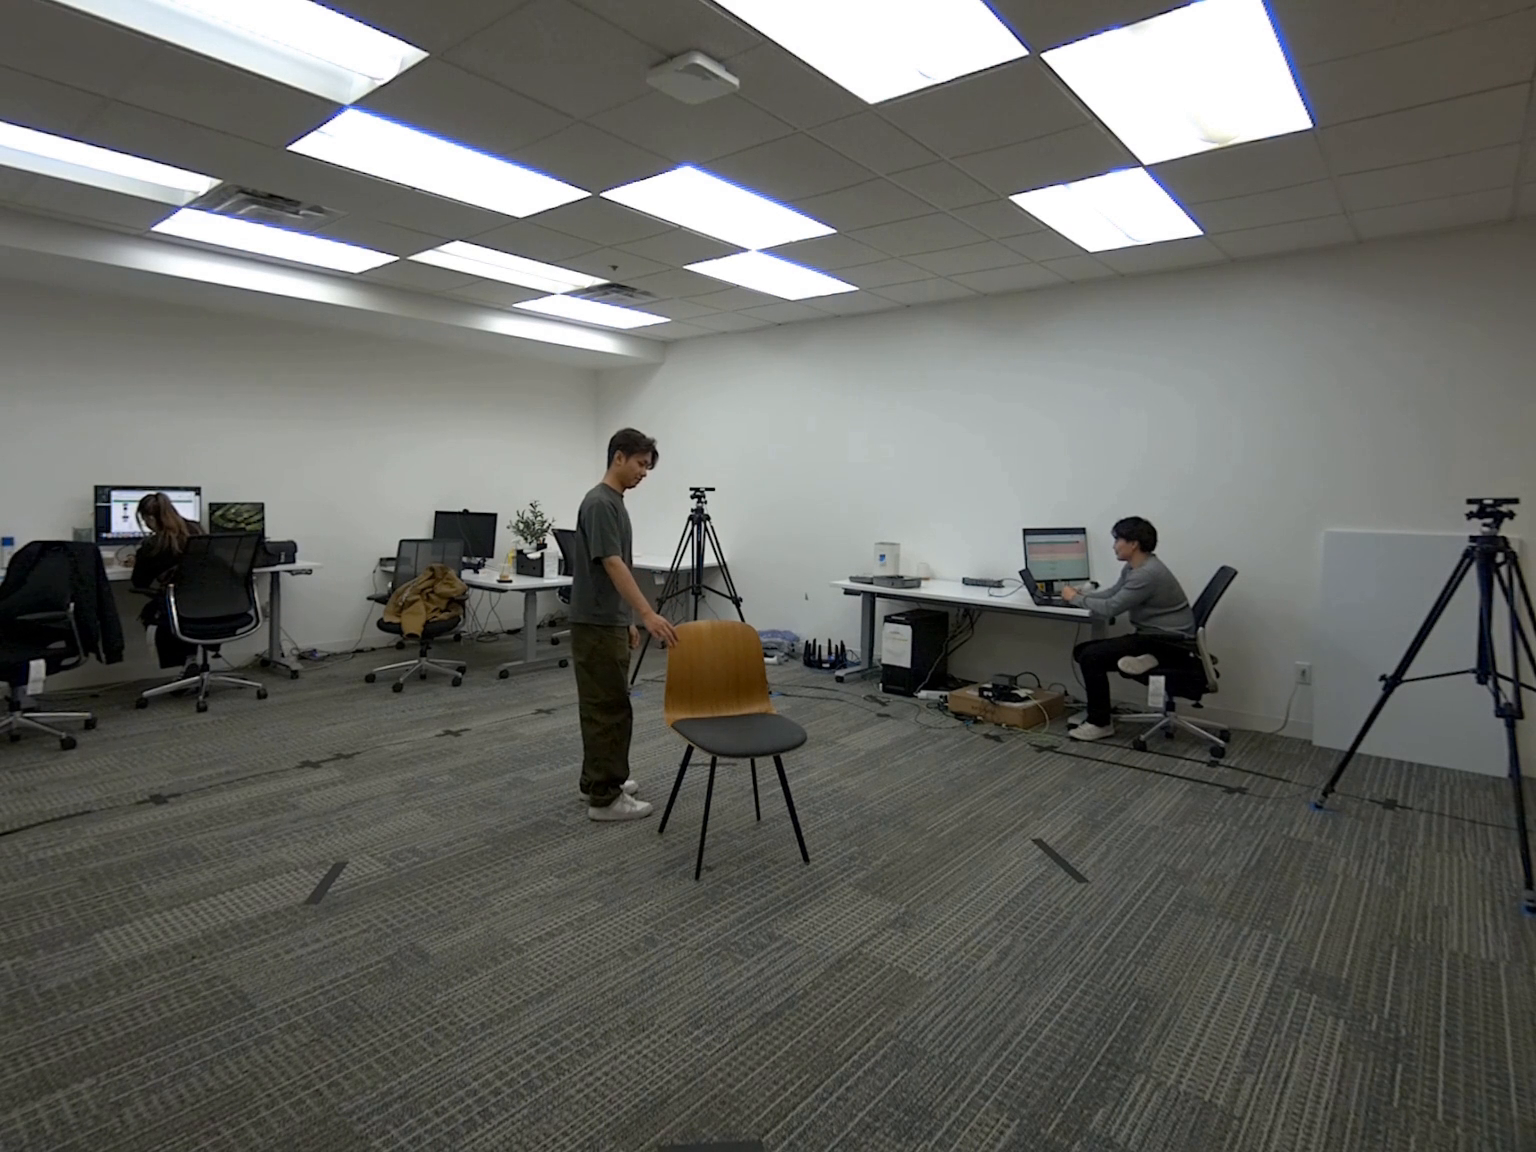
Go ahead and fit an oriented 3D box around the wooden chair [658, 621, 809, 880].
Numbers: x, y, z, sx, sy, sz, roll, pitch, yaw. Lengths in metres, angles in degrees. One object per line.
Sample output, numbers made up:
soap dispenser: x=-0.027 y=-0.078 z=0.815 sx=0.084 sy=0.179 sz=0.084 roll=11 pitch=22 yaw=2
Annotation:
wooden chair: x=-0.142 y=0.623 z=3.264 sx=0.467 sy=0.878 sz=0.534 roll=0 pitch=-1 yaw=-23
